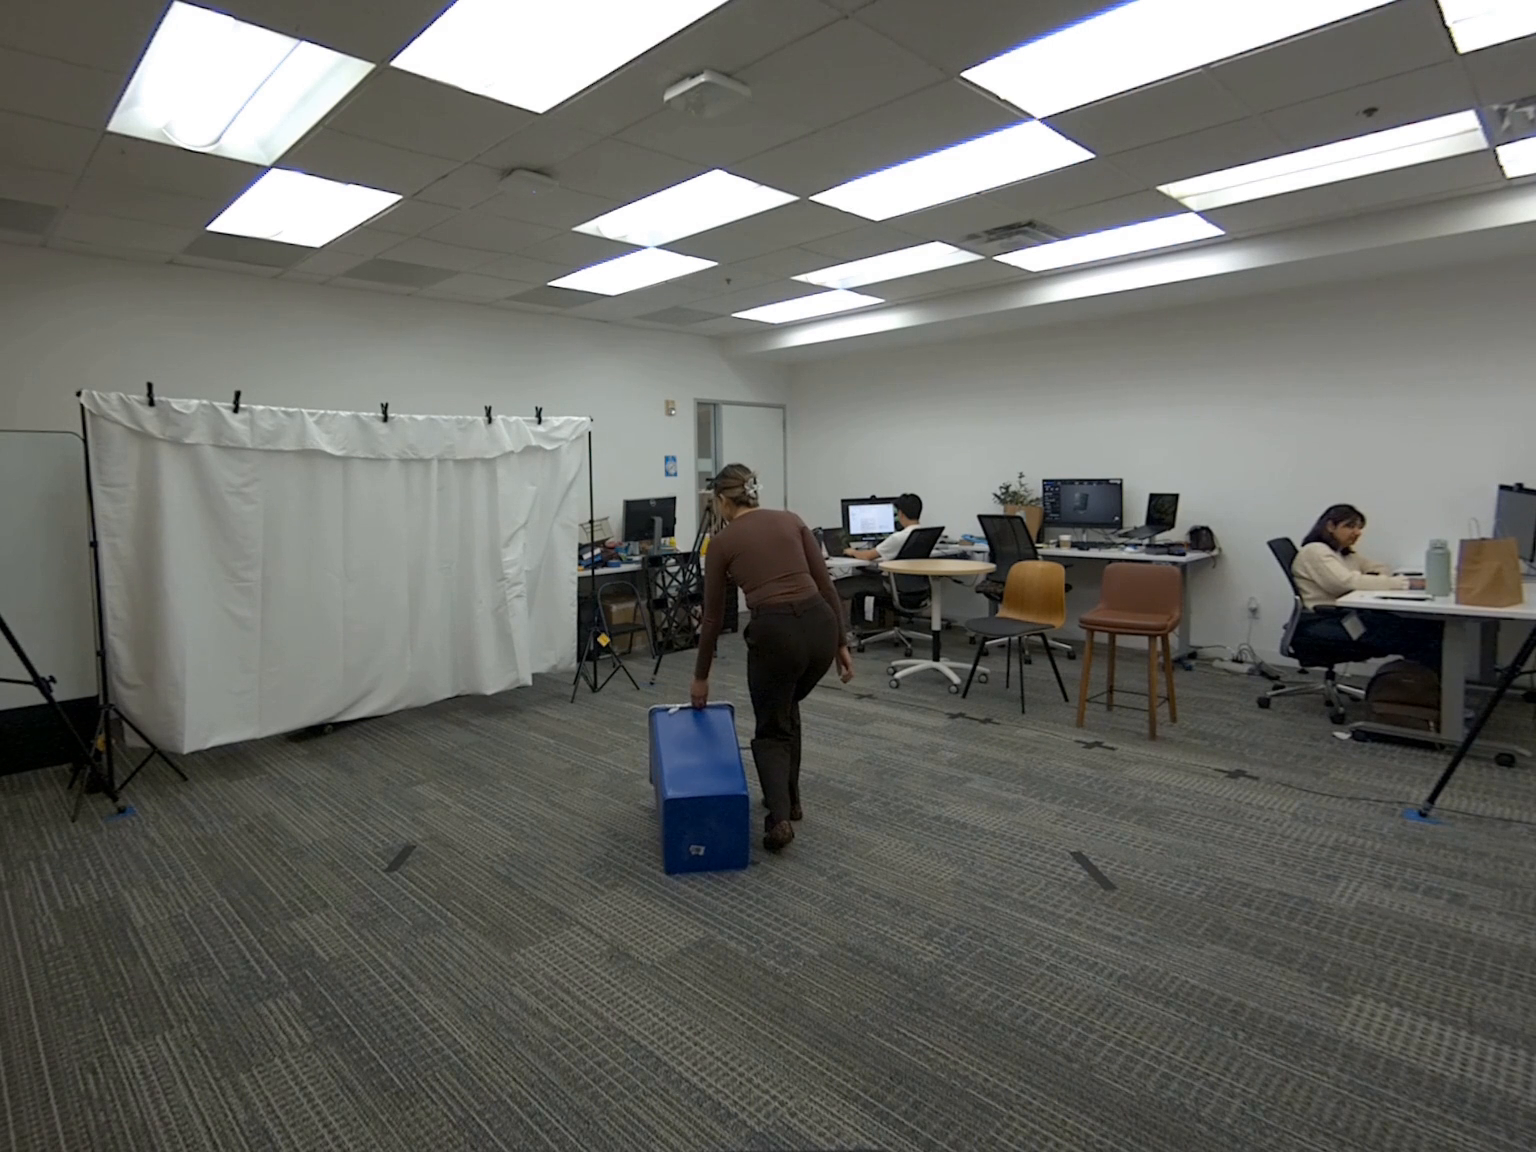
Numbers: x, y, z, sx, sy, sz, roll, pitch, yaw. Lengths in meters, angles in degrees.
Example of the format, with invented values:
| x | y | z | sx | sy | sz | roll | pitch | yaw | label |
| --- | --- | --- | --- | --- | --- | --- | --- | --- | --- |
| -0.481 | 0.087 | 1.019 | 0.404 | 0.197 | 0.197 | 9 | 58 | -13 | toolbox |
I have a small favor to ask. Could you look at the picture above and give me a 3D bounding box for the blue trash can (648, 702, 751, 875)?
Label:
| x | y | z | sx | sy | sz | roll | pitch | yaw | label |
| --- | --- | --- | --- | --- | --- | --- | --- | --- | --- |
| -0.271 | 0.816 | 3.344 | 0.371 | 0.373 | 0.728 | -2 | 15 | -10 | blue trash can |
